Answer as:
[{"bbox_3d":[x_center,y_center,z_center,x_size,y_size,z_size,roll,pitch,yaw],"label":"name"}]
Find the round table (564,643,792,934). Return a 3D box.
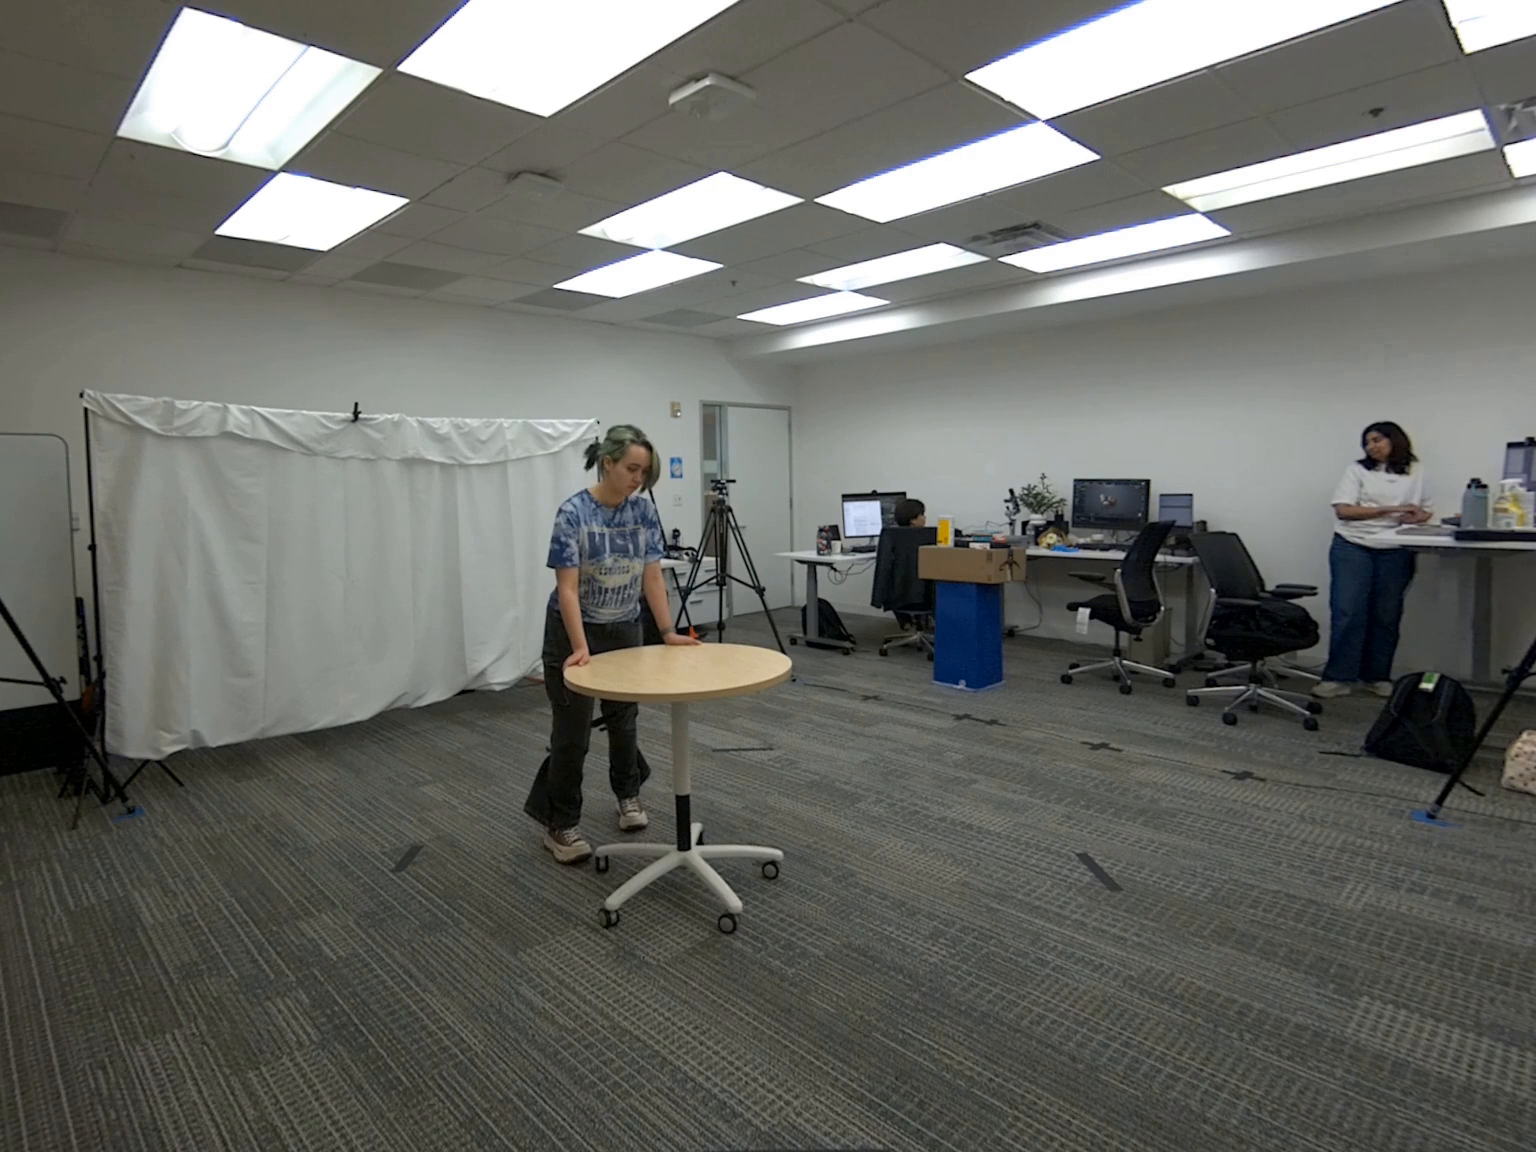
[{"bbox_3d":[-0.292,0.689,2.905,0.763,0.791,0.768,-2,5,-2],"label":"round table"}]
